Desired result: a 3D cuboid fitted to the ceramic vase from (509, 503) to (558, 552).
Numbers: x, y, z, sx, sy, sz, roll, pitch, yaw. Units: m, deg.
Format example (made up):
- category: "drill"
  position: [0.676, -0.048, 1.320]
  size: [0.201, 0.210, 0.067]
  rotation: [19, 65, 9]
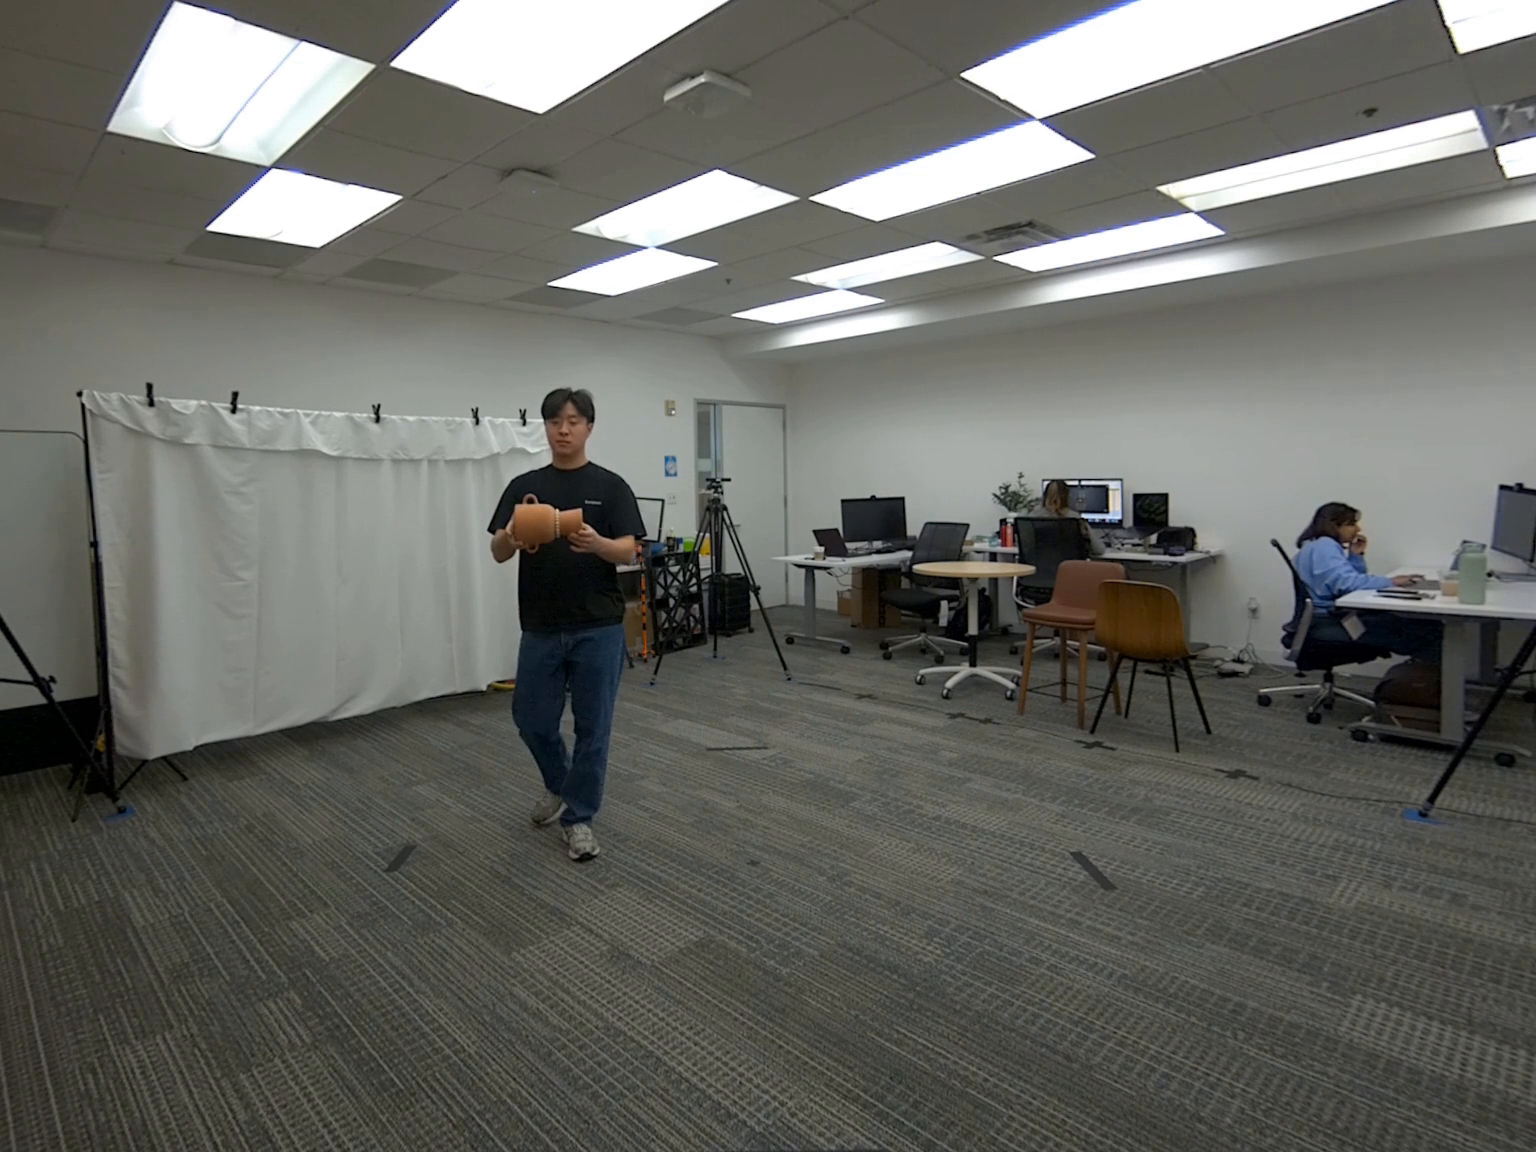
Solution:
- category: "ceramic vase"
  position: [-0.749, -0.179, 2.893]
  size: [0.217, 0.139, 0.155]
  rotation: [-2, -38, -11]
